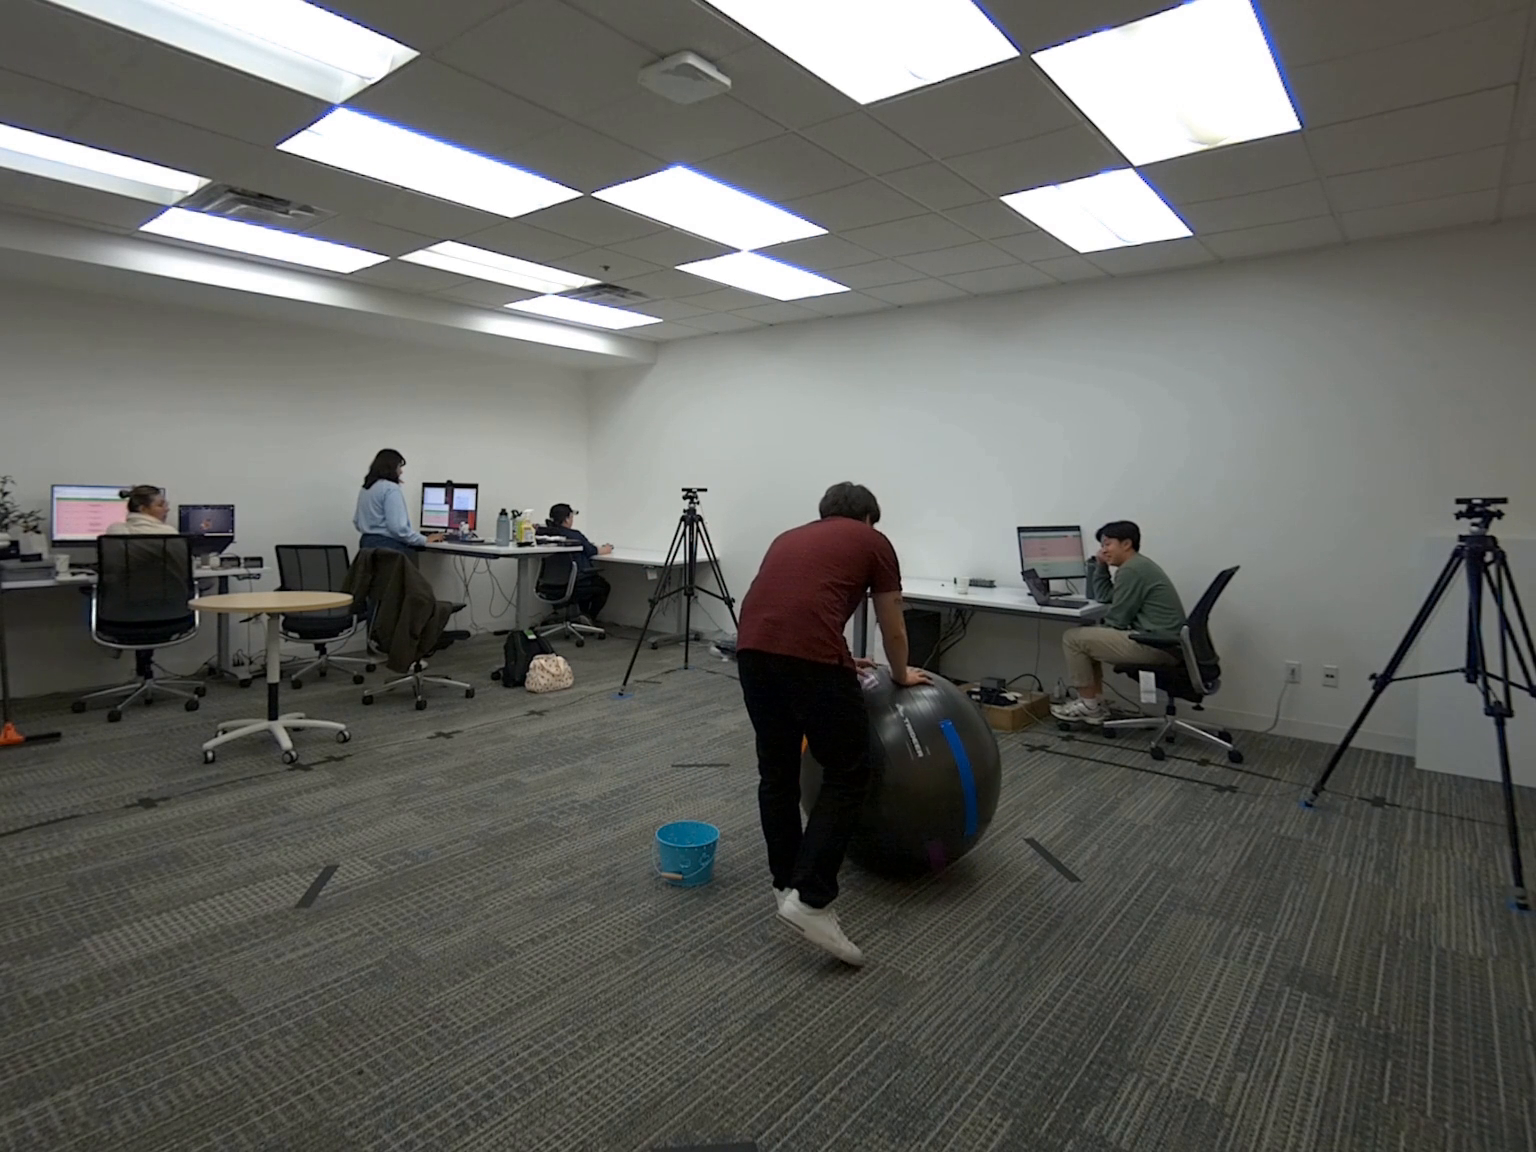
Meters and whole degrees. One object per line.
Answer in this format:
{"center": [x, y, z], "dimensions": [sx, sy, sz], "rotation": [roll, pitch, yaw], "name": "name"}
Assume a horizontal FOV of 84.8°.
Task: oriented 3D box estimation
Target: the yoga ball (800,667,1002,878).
{"center": [0.481, 0.724, 3.206], "dimensions": [0.757, 0.755, 0.762], "rotation": [1, 4, -2], "name": "yoga ball"}
